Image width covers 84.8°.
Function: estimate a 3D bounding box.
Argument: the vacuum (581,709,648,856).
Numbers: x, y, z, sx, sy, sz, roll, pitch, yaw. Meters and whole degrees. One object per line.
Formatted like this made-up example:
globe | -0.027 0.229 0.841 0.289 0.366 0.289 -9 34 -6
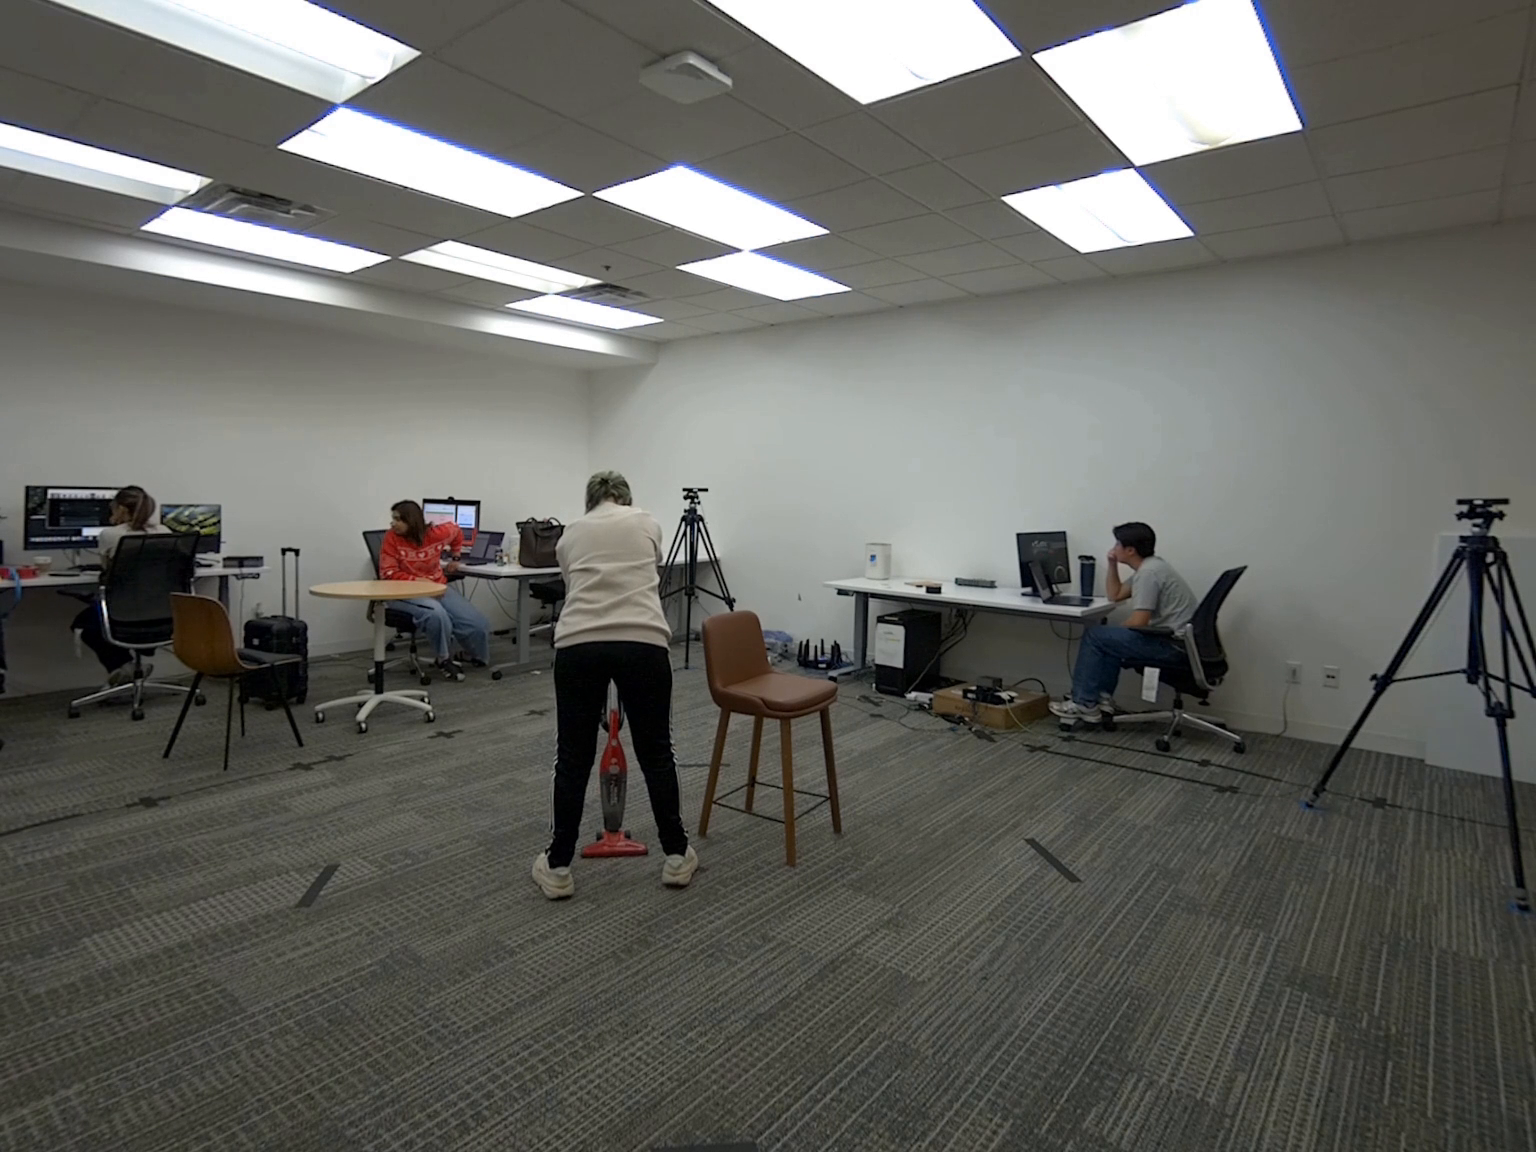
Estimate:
vacuum | -0.644 0.554 3.475 0.248 1.073 0.143 3 -25 -18
